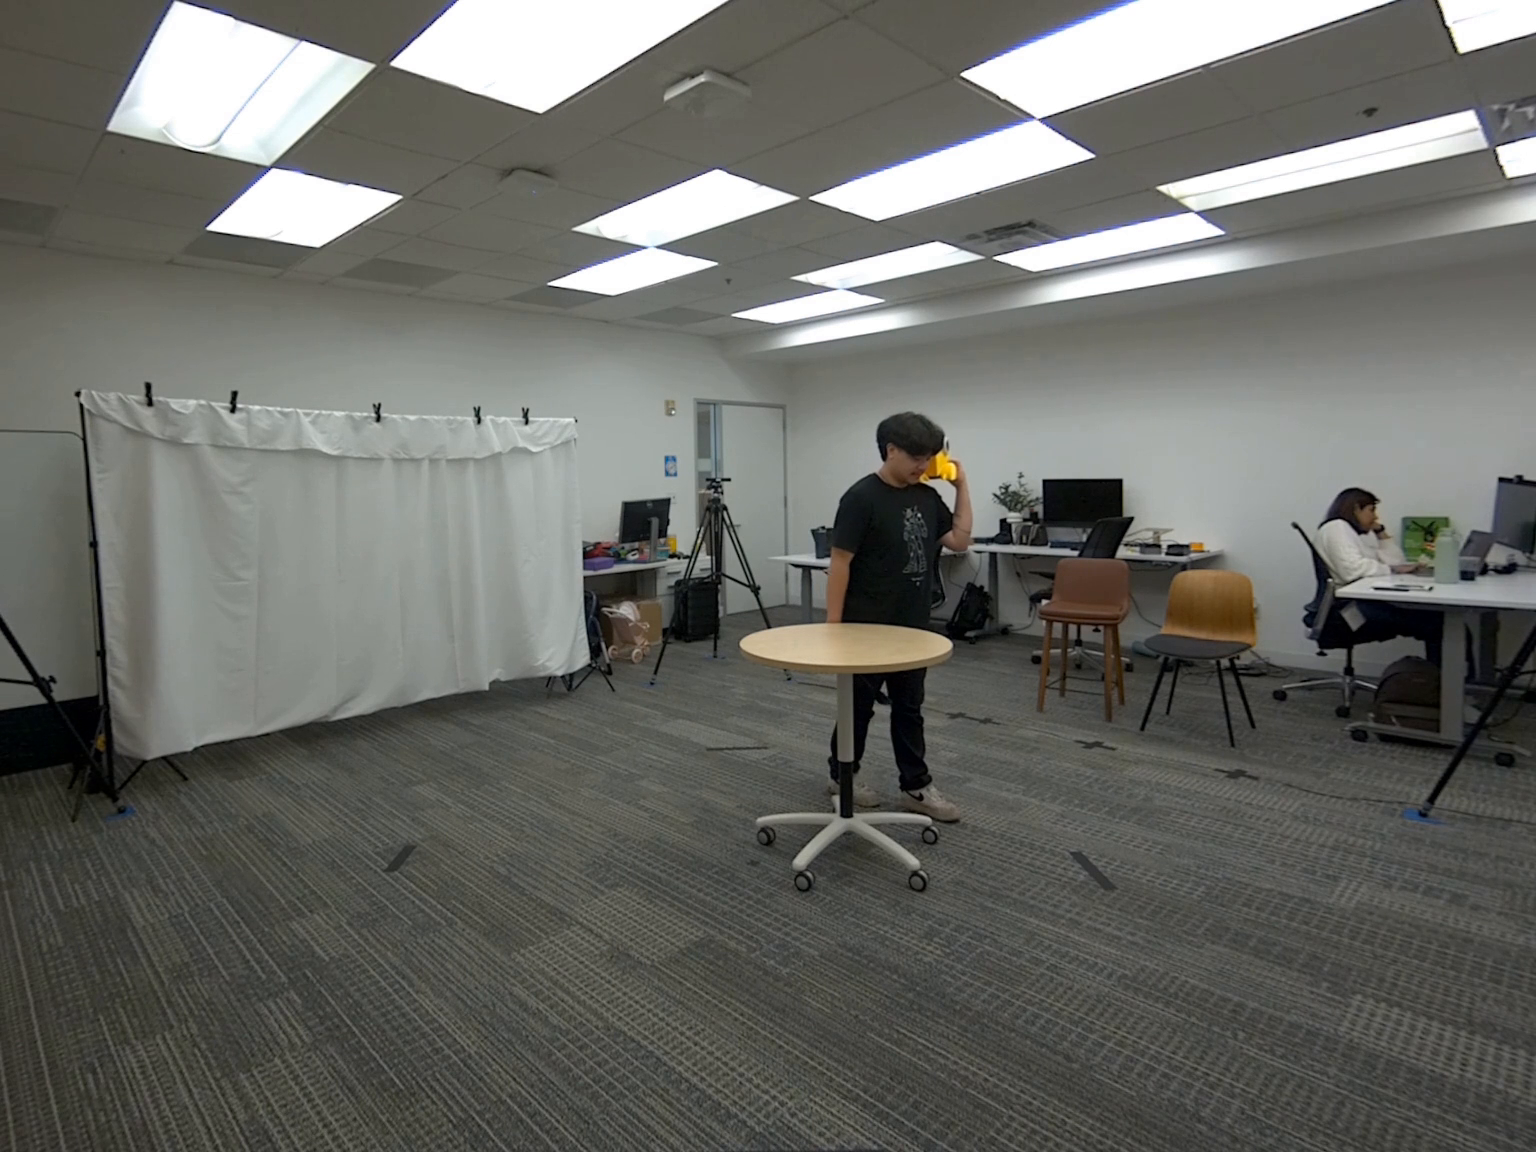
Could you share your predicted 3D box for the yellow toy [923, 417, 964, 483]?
[{"bbox_3d":[0.680,-0.528,3.571,0.204,0.227,0.196,-5,16,-3],"label":"yellow toy"}]
